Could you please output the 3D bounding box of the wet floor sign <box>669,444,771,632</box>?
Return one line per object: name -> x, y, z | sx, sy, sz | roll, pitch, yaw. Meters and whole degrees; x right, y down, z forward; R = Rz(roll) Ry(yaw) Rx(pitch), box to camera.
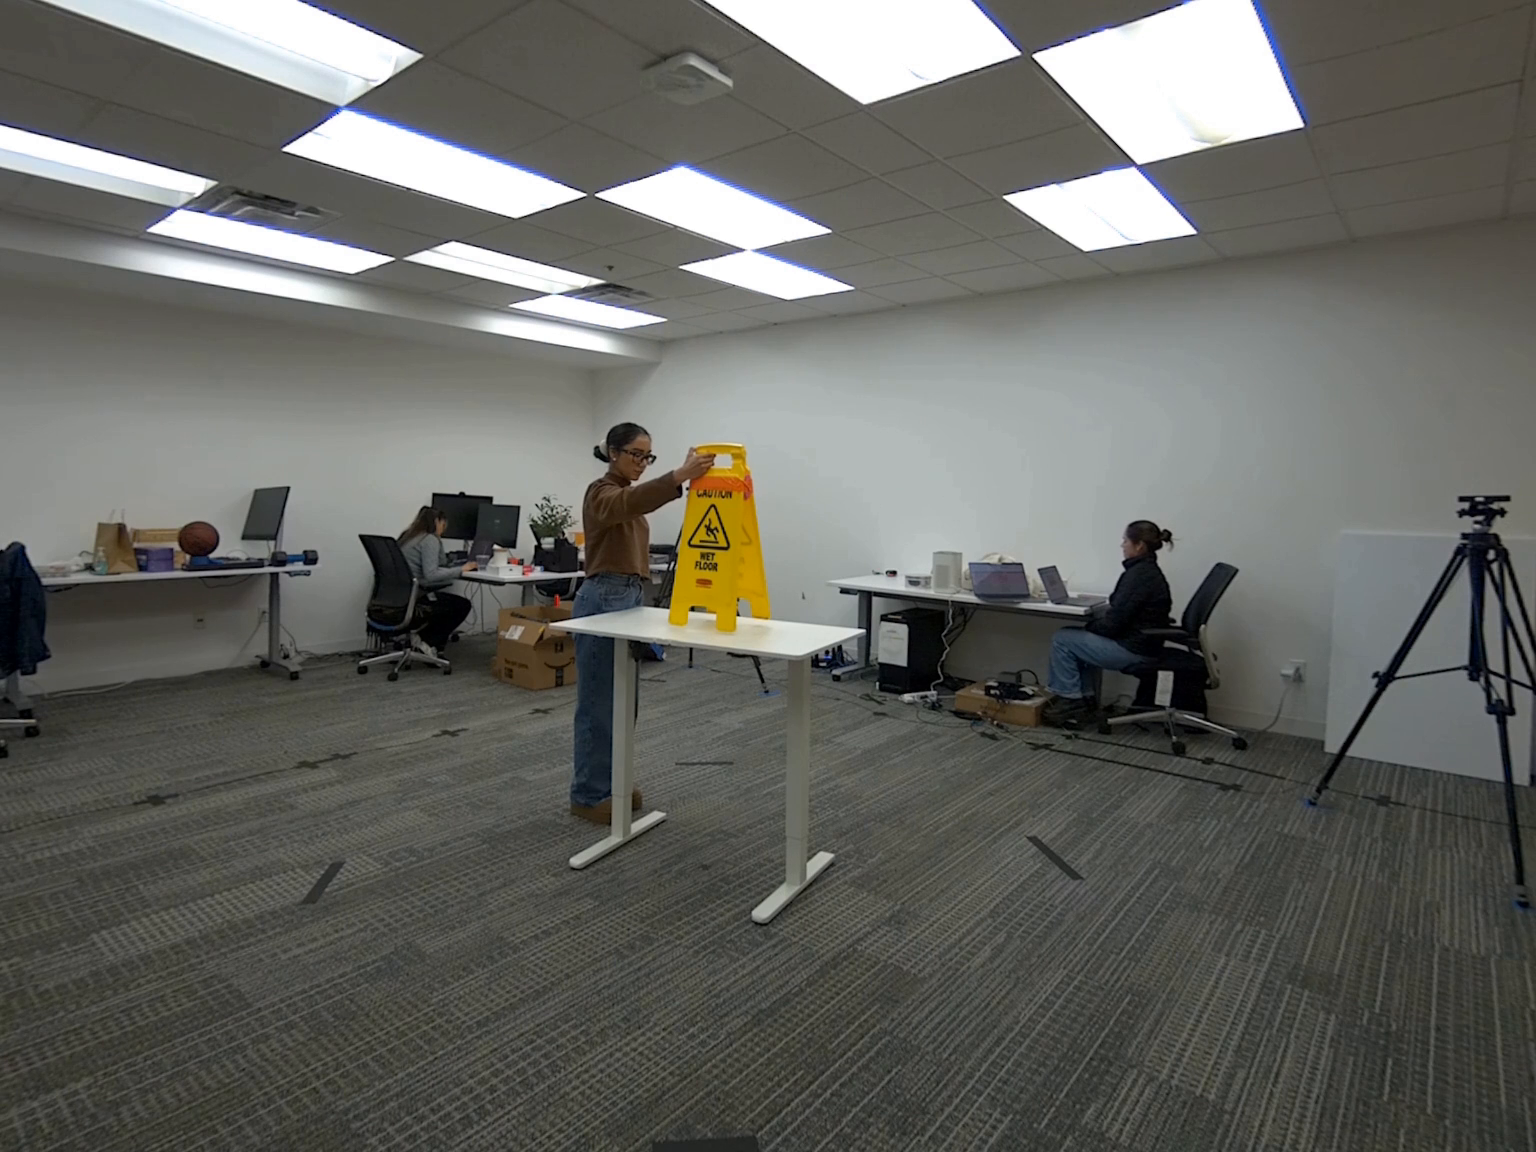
wet floor sign -> -0.185, -0.153, 3.084 | 0.290, 0.642, 0.283 | 3, 7, 29
